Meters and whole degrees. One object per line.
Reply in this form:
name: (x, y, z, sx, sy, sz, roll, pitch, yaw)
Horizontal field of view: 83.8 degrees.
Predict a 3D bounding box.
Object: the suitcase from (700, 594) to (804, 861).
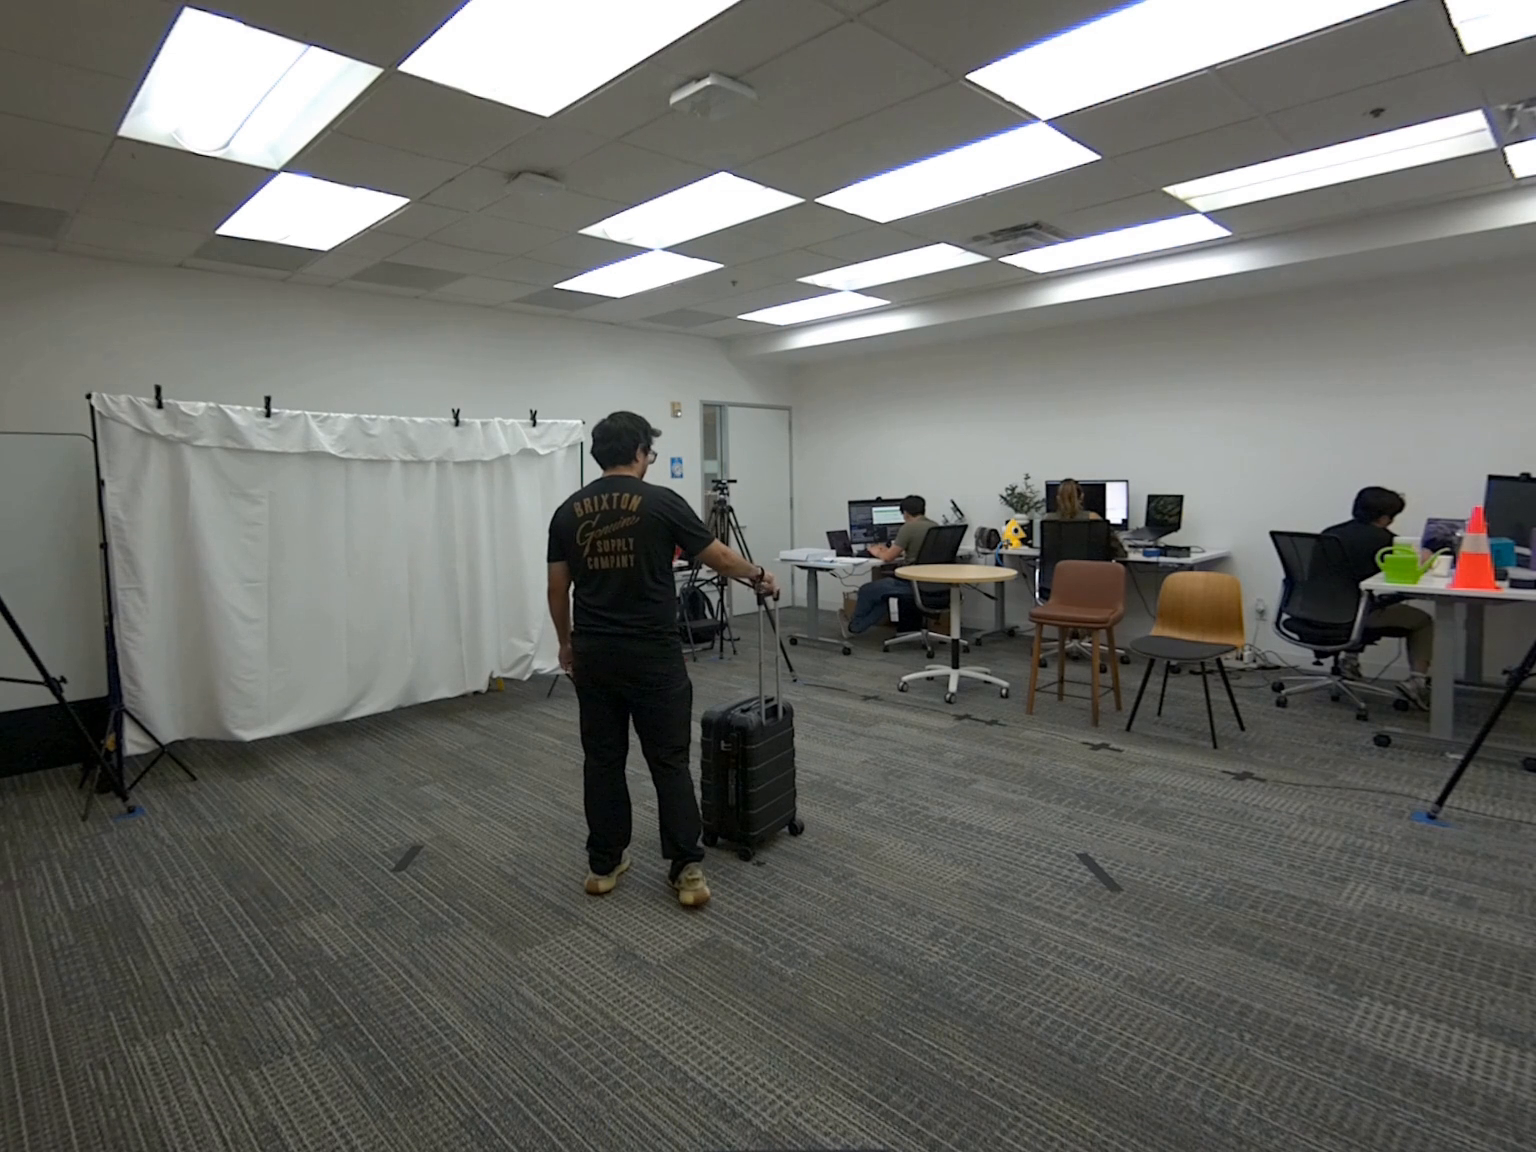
suitcase: (-0.079, 0.550, 3.295, 0.264, 0.977, 0.375, -2, 3, 33)
